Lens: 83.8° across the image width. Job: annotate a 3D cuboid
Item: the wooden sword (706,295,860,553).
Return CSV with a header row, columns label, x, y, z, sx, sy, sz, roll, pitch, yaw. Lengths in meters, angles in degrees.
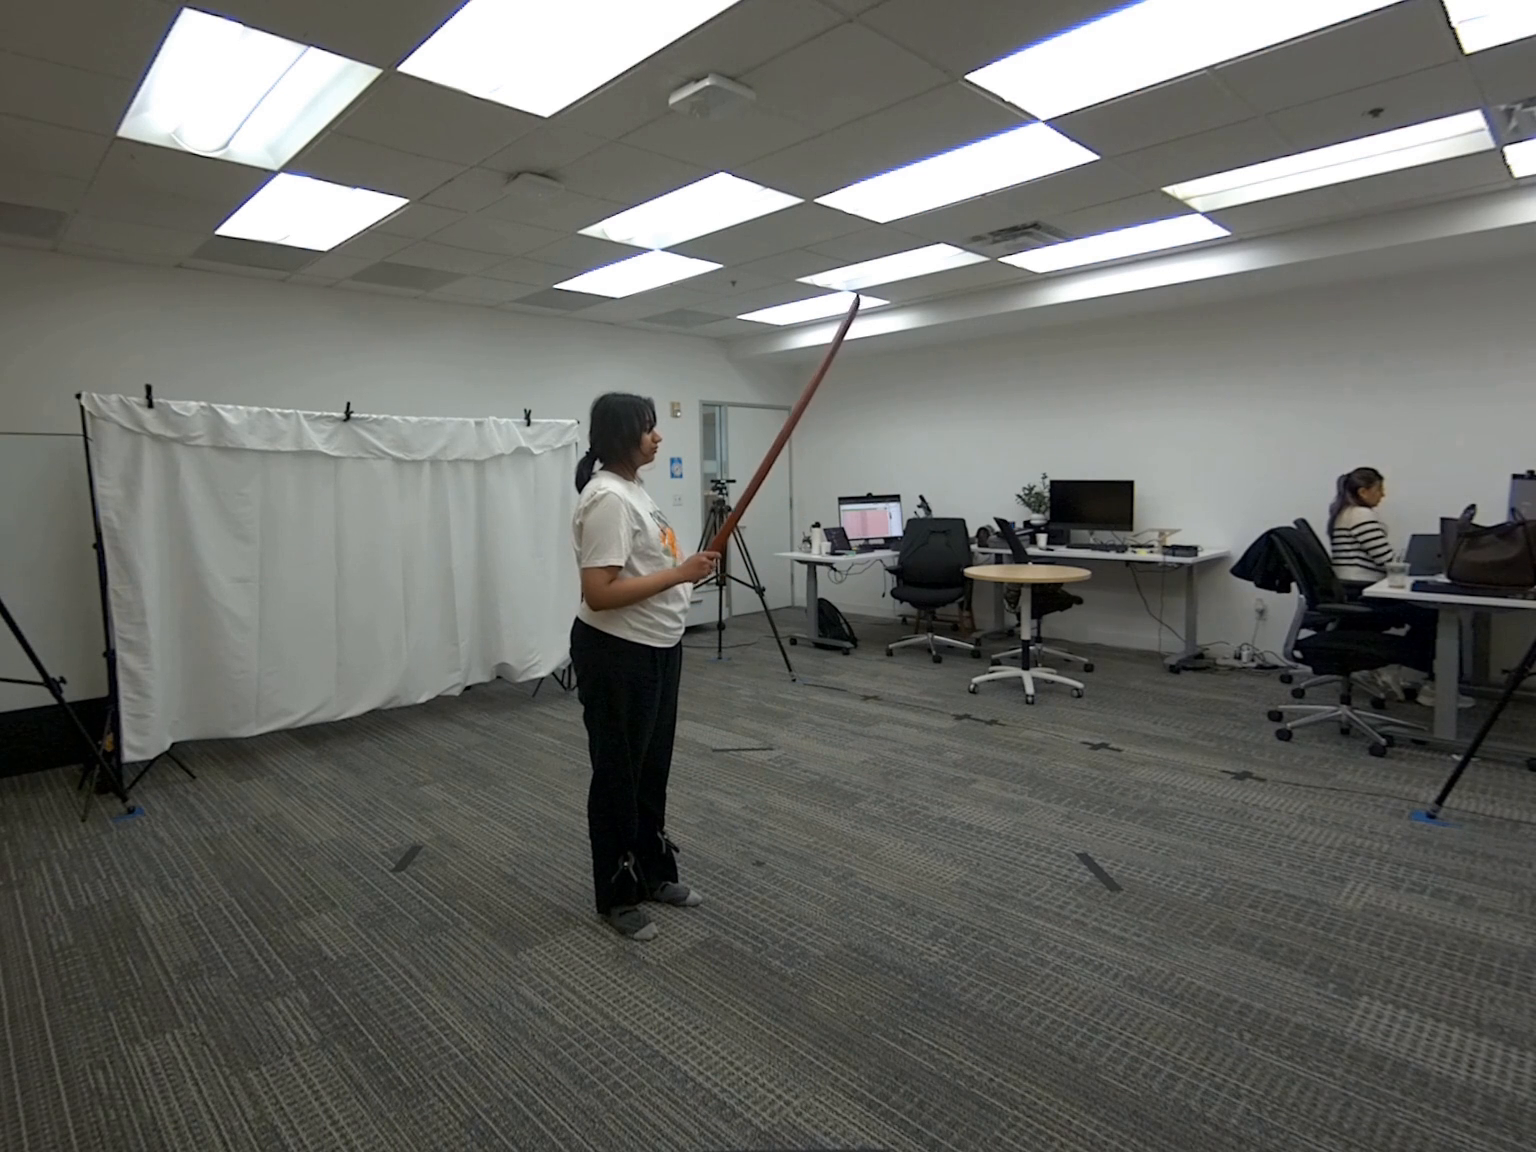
label,x,y,z,sx,sy,sz,roll,pitch,yaw
wooden sword,0.041,-0.412,2.616,0.053,1.026,0.023,25,-5,41
